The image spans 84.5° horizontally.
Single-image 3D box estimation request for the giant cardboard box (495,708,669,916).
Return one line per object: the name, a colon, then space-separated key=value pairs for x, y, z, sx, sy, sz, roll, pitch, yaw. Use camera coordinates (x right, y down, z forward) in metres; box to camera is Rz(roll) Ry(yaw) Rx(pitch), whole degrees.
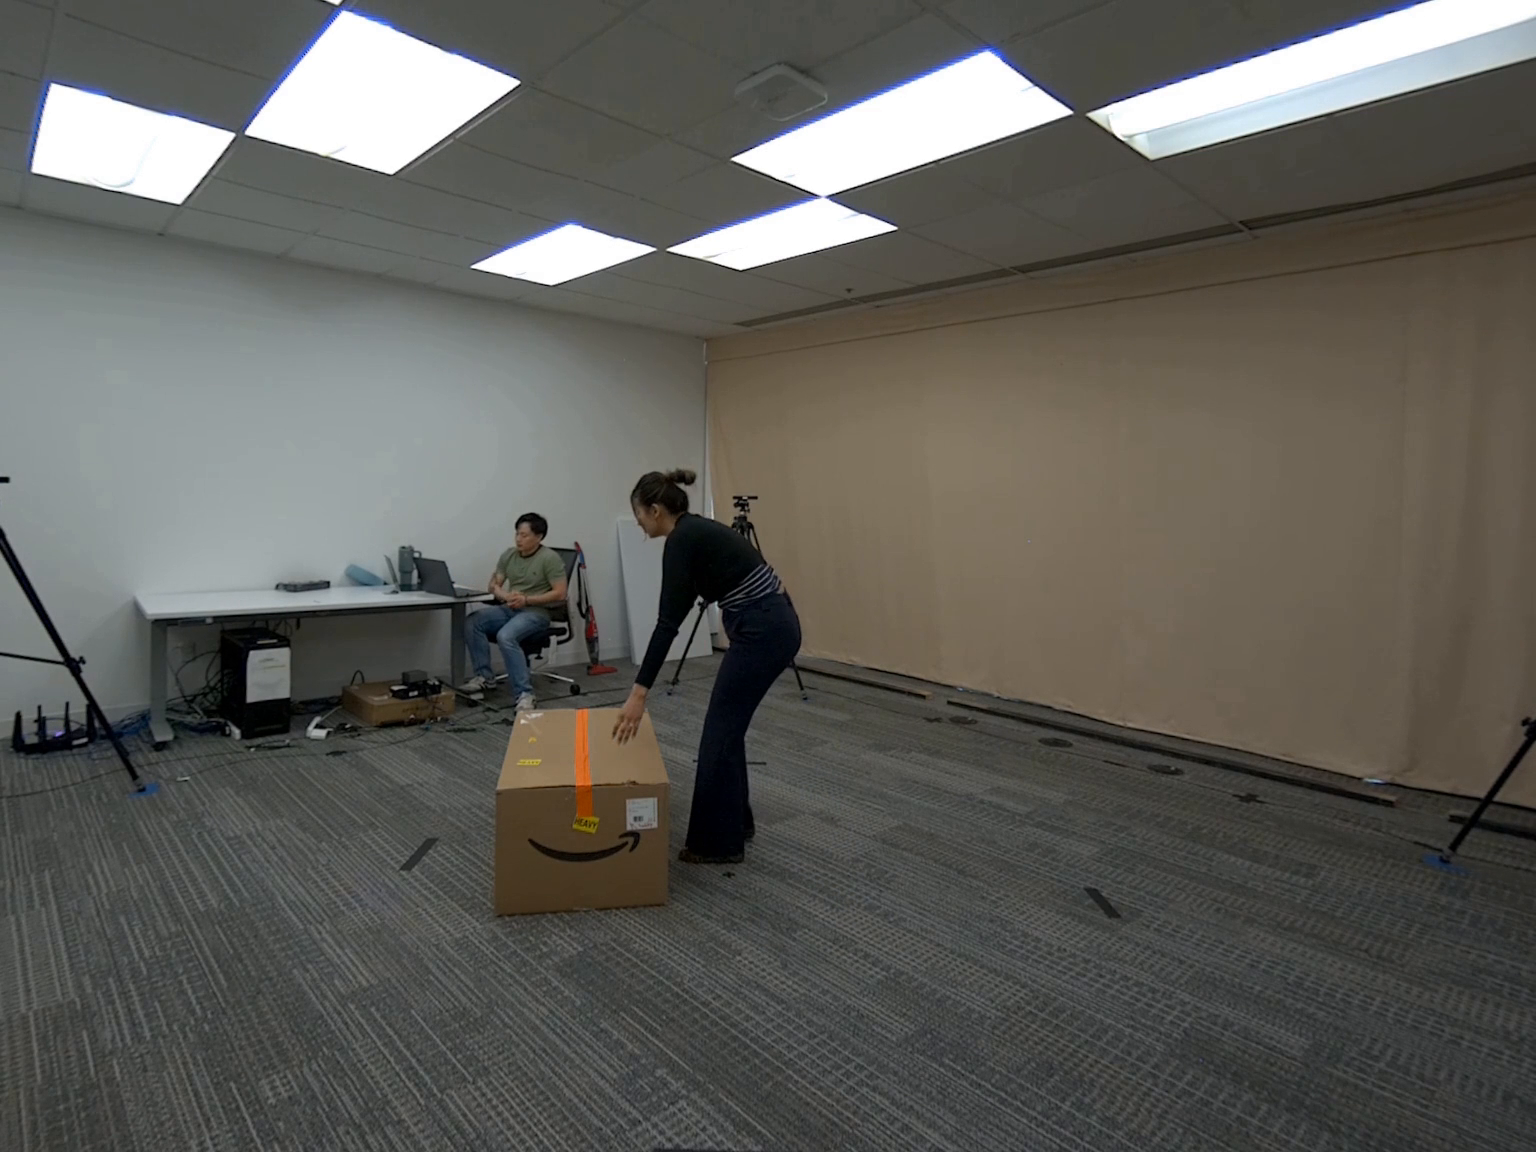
giant cardboard box: x=-0.731 y=0.856 z=3.295 sx=0.572 sy=0.425 sz=1.038 roll=0 pitch=5 yaw=-12
